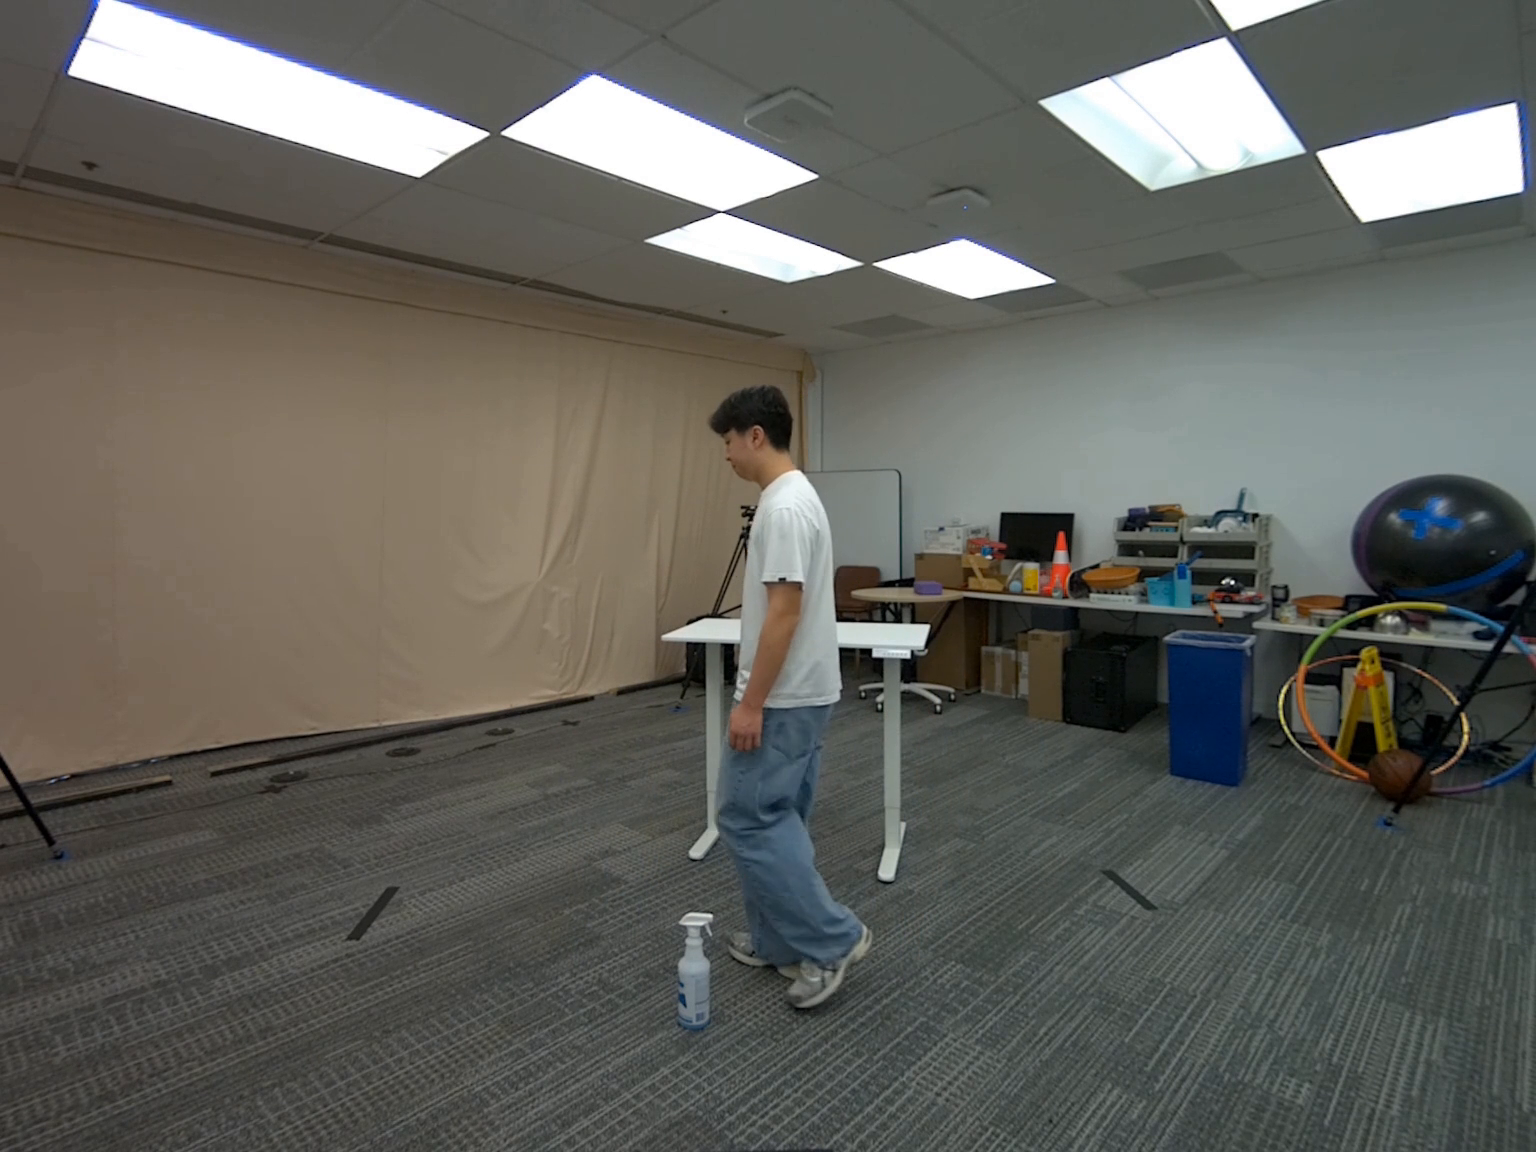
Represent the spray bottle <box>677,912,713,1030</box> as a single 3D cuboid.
[{"bbox_3d":[-0.194,1.064,2.260,0.093,0.297,0.084,3,4,32],"label":"spray bottle"}]
